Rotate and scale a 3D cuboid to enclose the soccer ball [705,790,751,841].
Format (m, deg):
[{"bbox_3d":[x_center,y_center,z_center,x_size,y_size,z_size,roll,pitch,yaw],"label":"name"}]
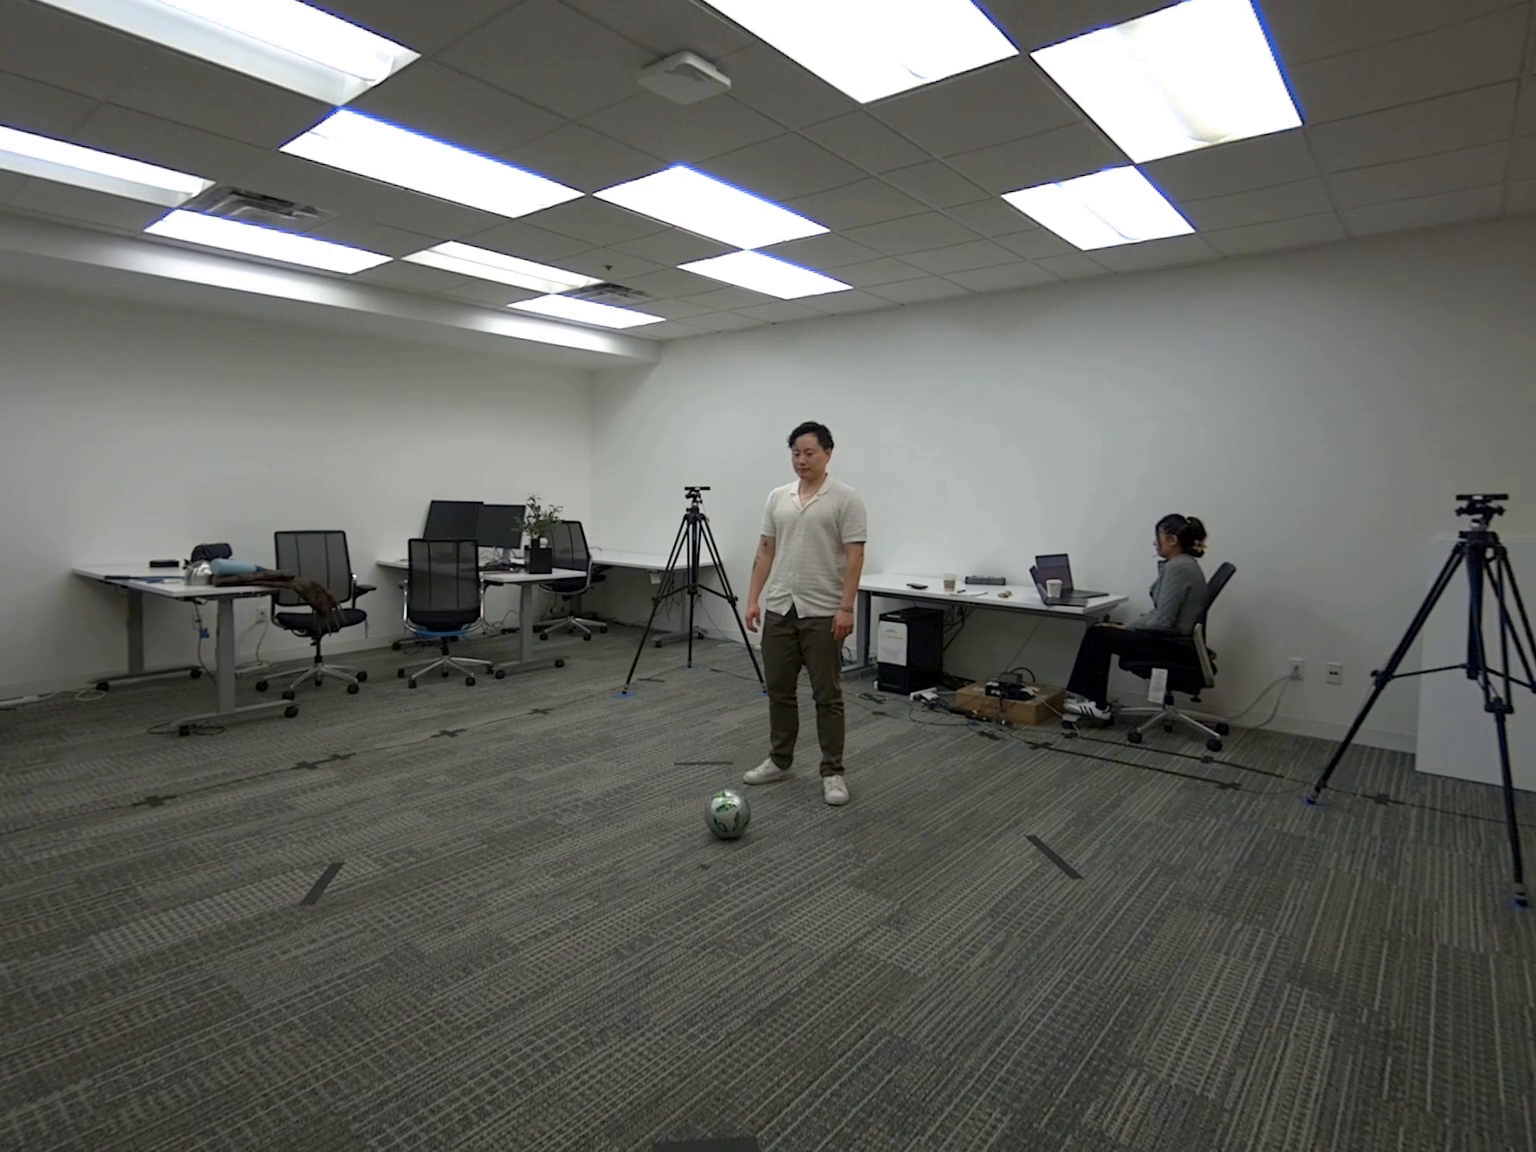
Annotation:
[{"bbox_3d":[-0.171,0.942,3.389,0.187,0.187,0.188,1,4,-2],"label":"soccer ball"}]
